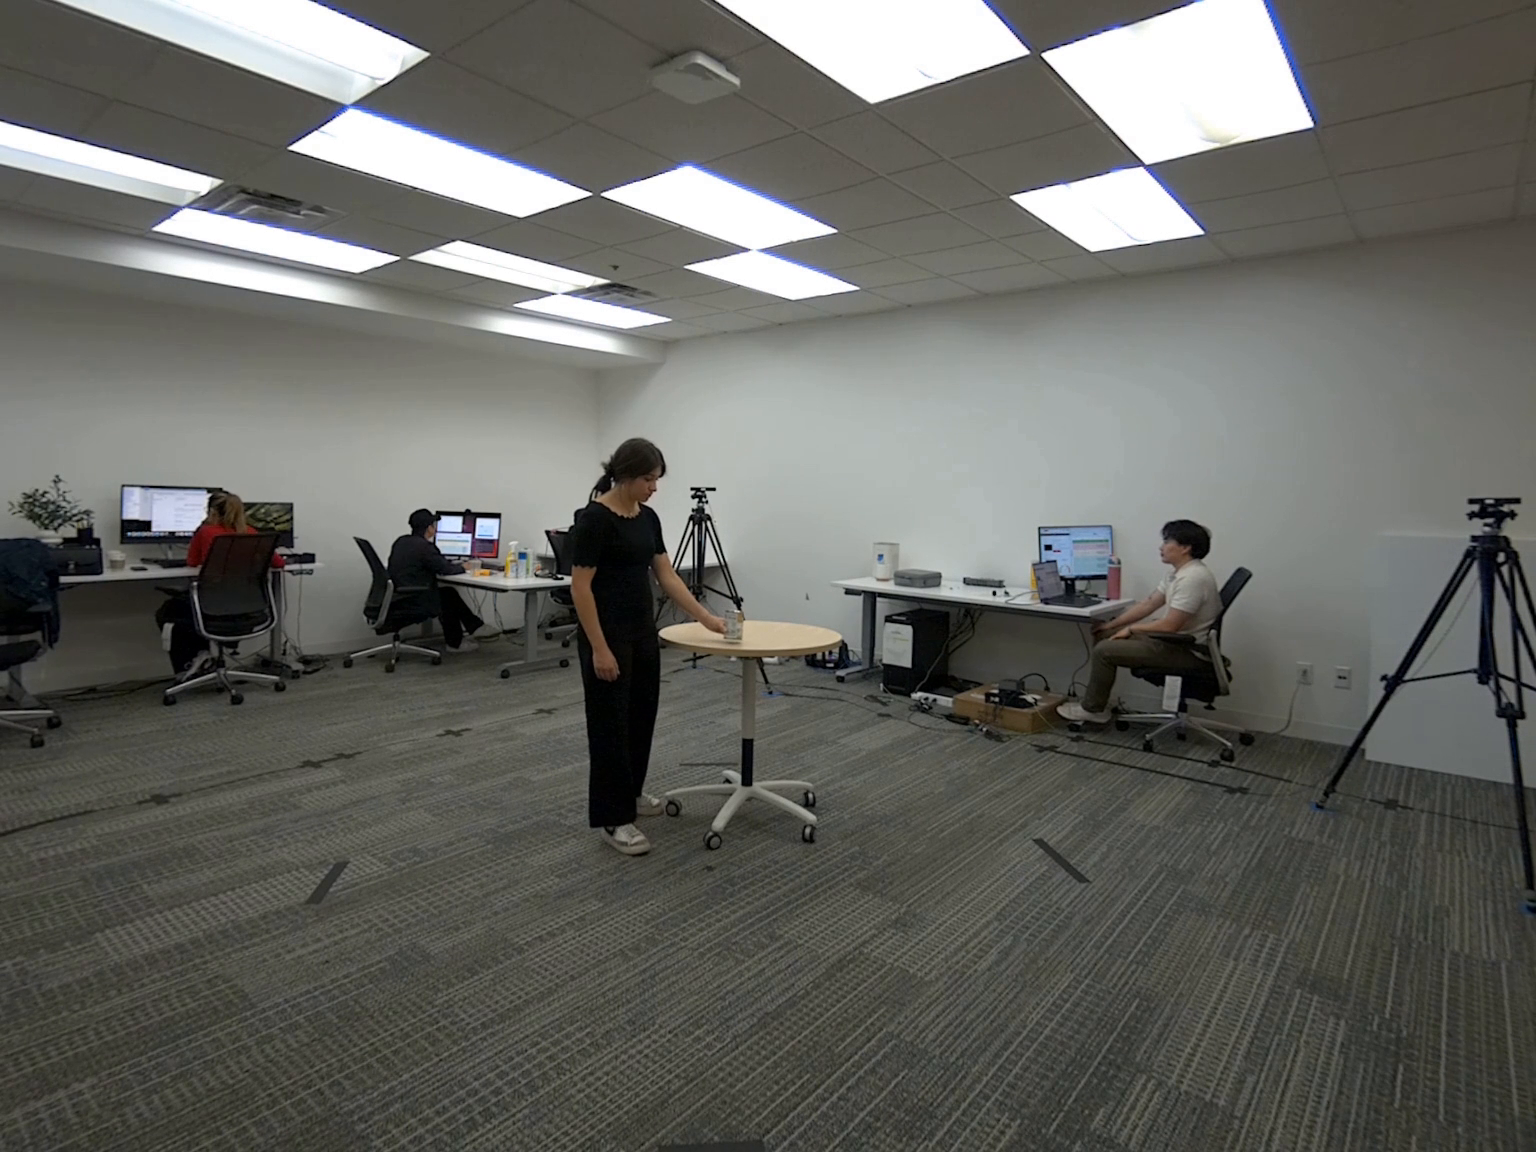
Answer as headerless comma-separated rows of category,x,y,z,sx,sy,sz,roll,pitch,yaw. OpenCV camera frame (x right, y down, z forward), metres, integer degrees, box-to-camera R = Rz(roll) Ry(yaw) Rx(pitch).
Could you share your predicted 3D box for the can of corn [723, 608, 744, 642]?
can of corn,-0.148,0.192,3.338,0.074,0.111,0.074,1,-3,-2
